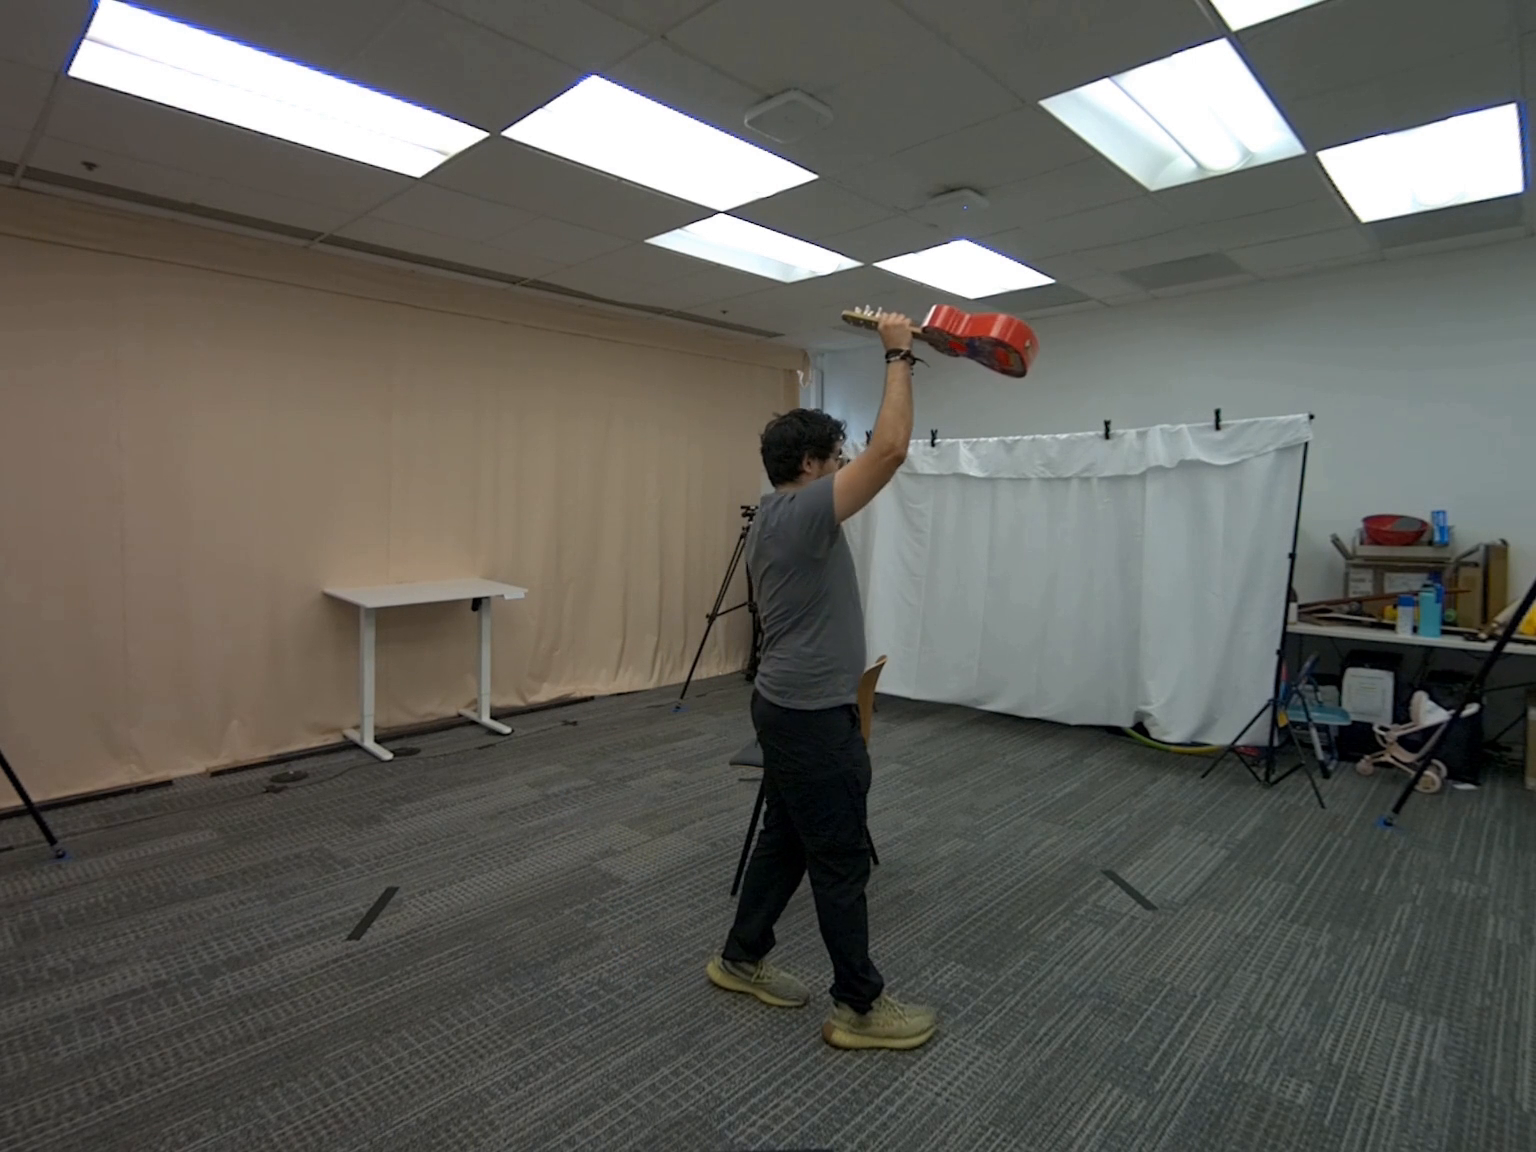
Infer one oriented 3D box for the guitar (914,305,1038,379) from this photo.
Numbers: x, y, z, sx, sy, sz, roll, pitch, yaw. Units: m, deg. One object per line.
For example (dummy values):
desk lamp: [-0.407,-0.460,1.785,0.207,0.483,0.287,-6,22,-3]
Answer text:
guitar: [0.409,-0.612,2.030,0.511,0.071,0.188,26,-3,22]
